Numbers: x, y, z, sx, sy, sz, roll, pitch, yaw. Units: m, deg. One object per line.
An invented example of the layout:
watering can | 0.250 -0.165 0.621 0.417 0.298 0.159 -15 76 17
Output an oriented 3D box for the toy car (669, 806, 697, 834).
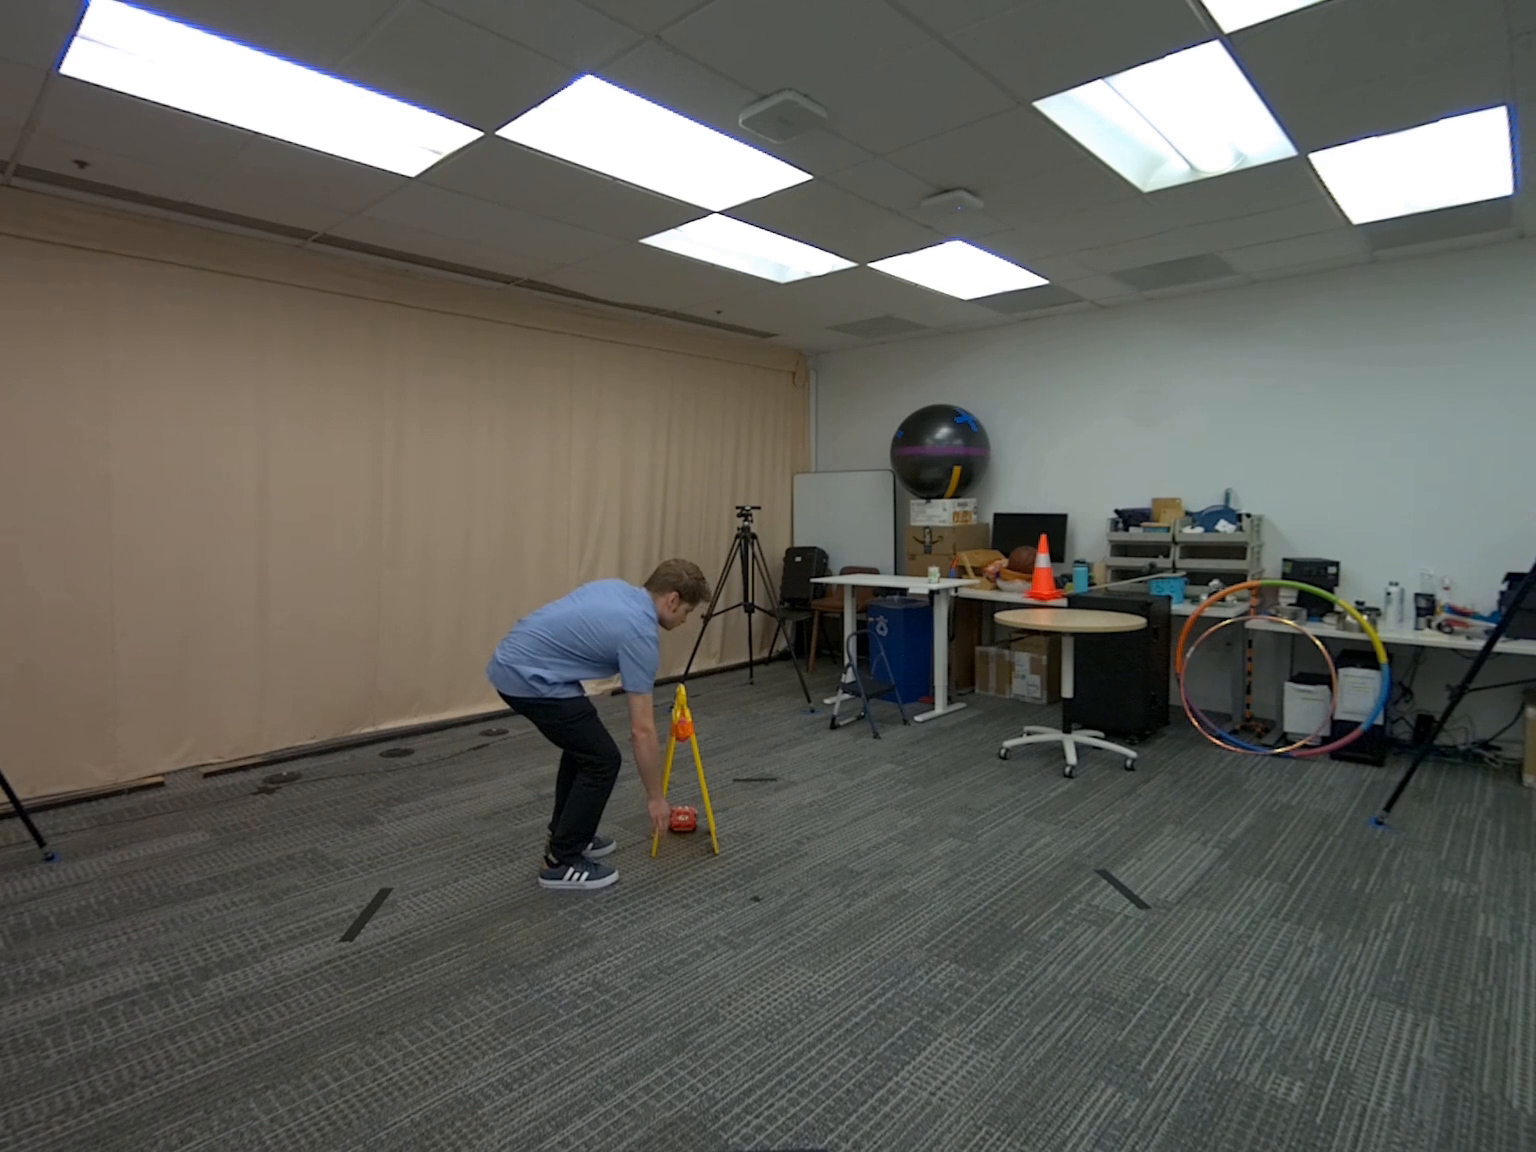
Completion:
toy car | -0.373 1.064 3.666 0.130 0.083 0.254 0 -6 -4
